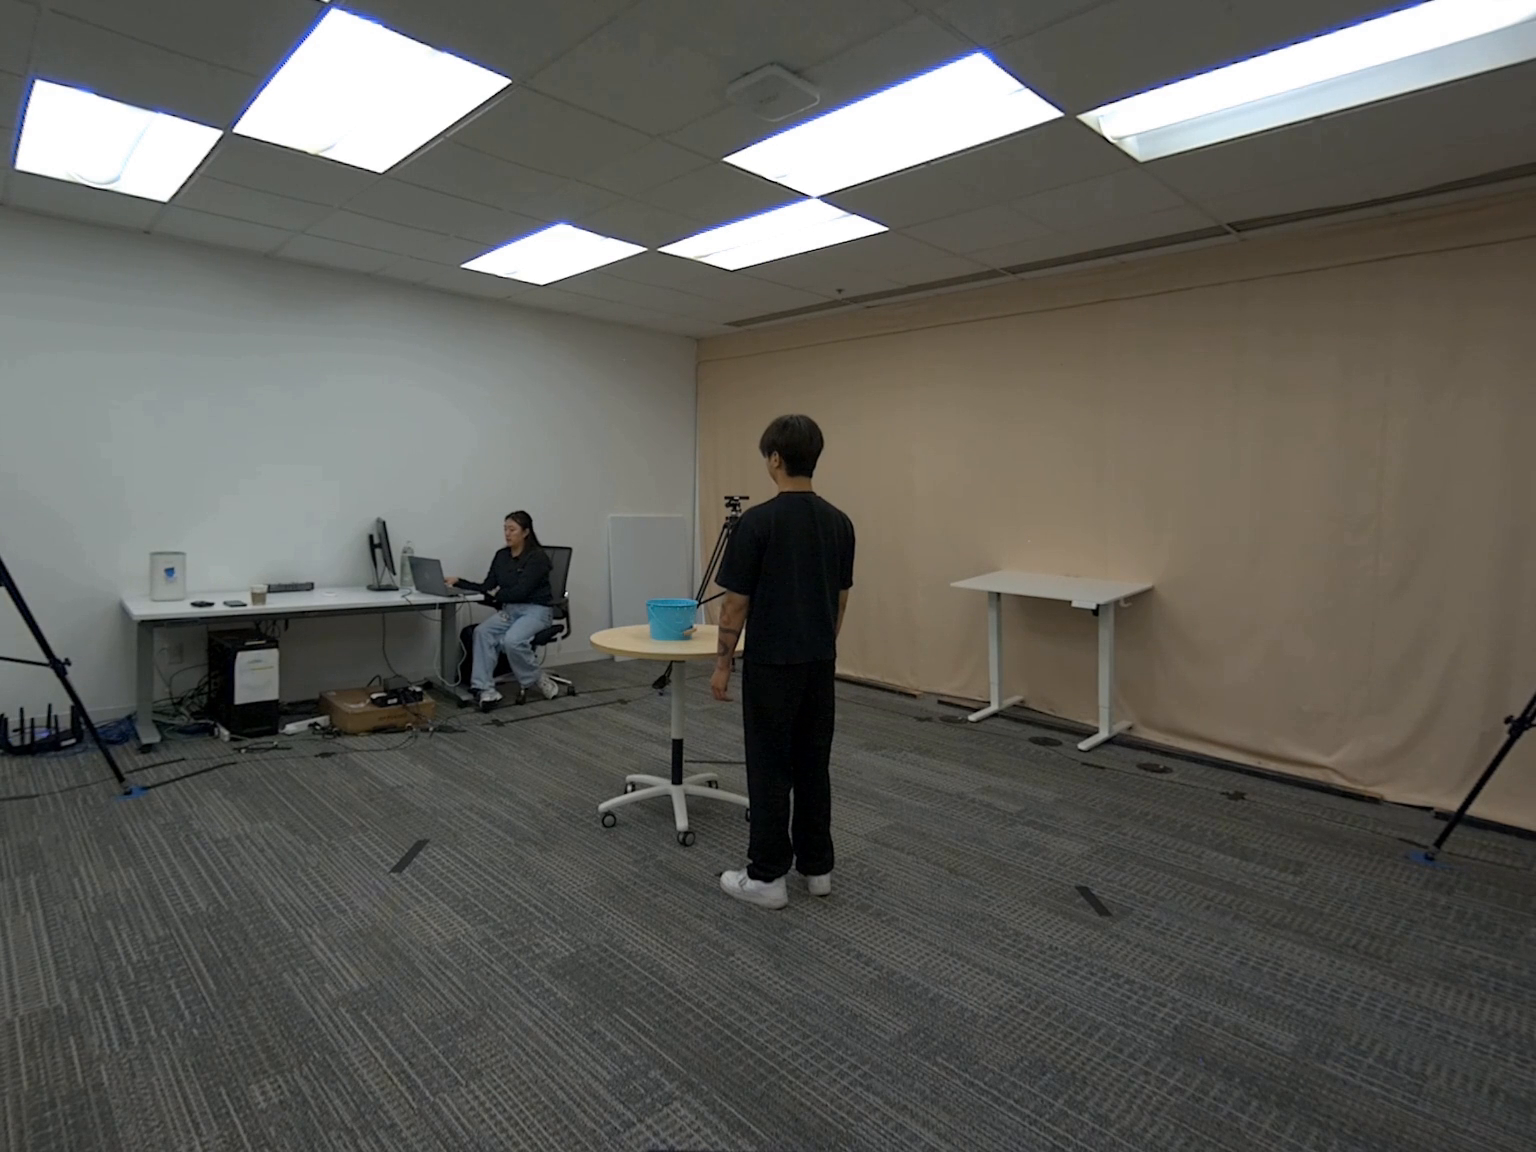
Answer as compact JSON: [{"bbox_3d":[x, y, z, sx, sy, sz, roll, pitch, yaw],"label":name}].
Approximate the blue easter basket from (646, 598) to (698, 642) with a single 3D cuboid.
[{"bbox_3d":[-0.431,0.192,3.646,0.243,0.155,0.244,1,4,-1],"label":"blue easter basket"}]
